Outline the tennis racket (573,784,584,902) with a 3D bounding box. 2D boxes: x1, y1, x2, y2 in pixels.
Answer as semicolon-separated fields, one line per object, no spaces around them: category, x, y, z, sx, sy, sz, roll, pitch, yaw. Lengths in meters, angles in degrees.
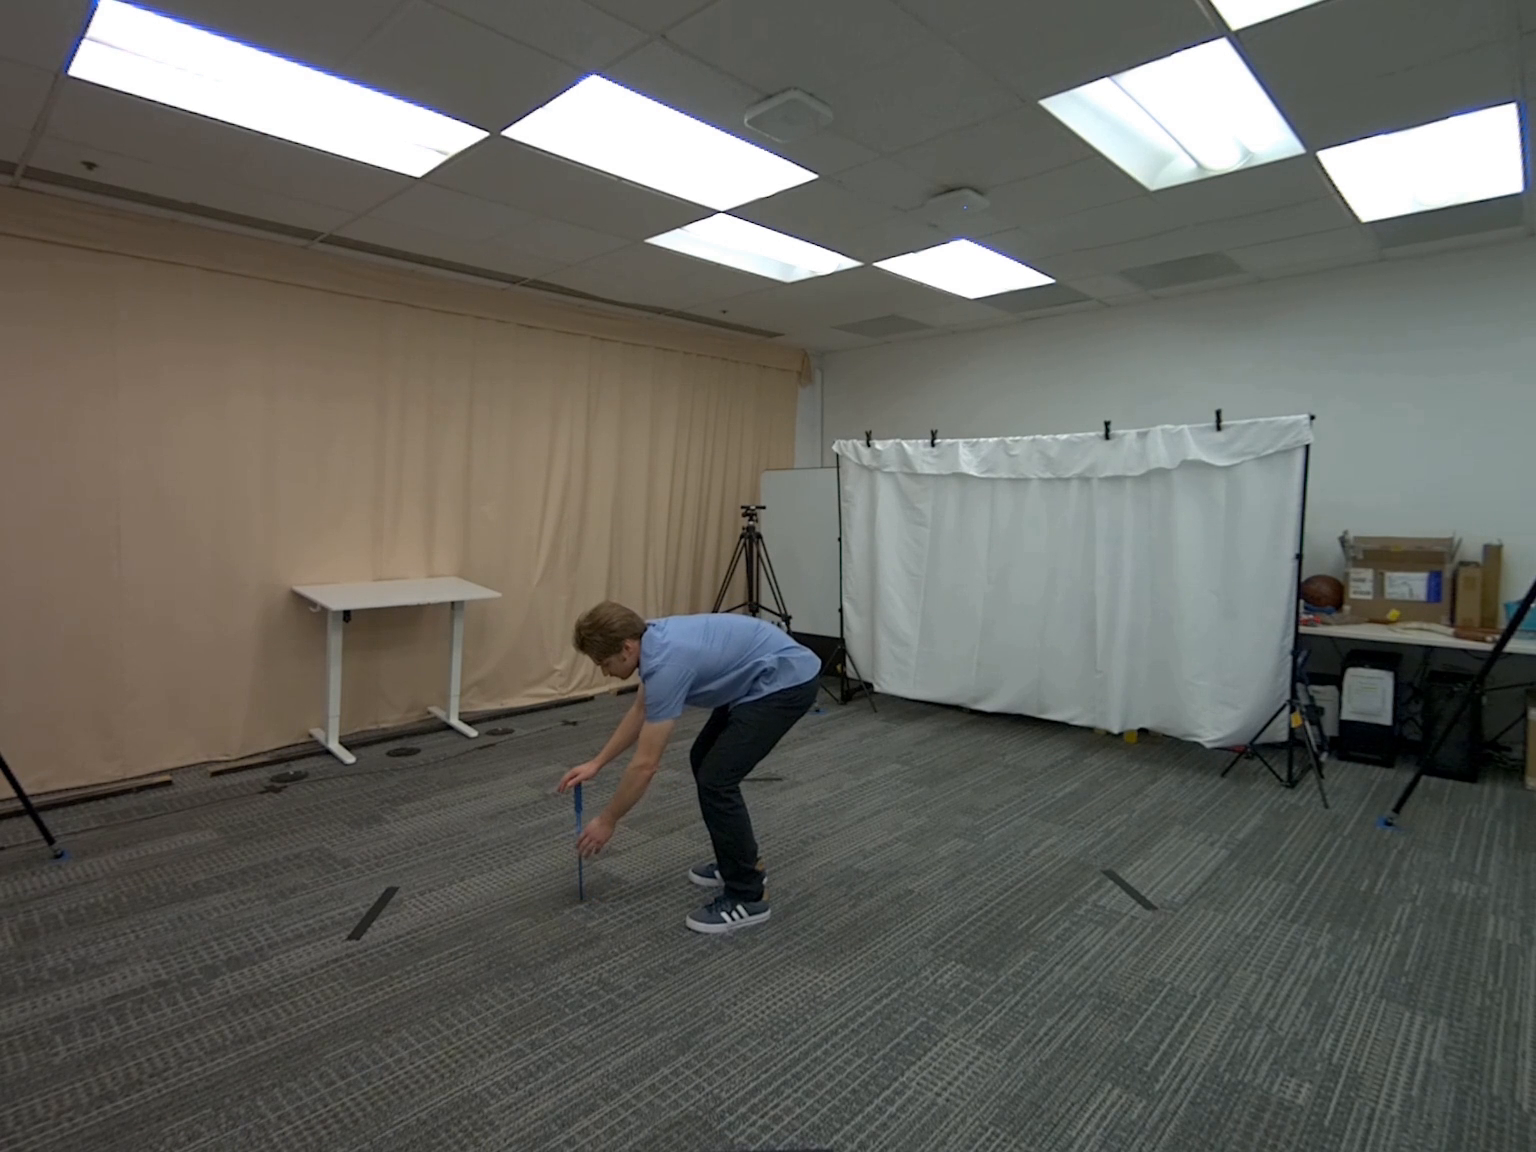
tennis racket;-0.662;0.933;3.005;0.031;0.433;0.216;-4;0;-12
